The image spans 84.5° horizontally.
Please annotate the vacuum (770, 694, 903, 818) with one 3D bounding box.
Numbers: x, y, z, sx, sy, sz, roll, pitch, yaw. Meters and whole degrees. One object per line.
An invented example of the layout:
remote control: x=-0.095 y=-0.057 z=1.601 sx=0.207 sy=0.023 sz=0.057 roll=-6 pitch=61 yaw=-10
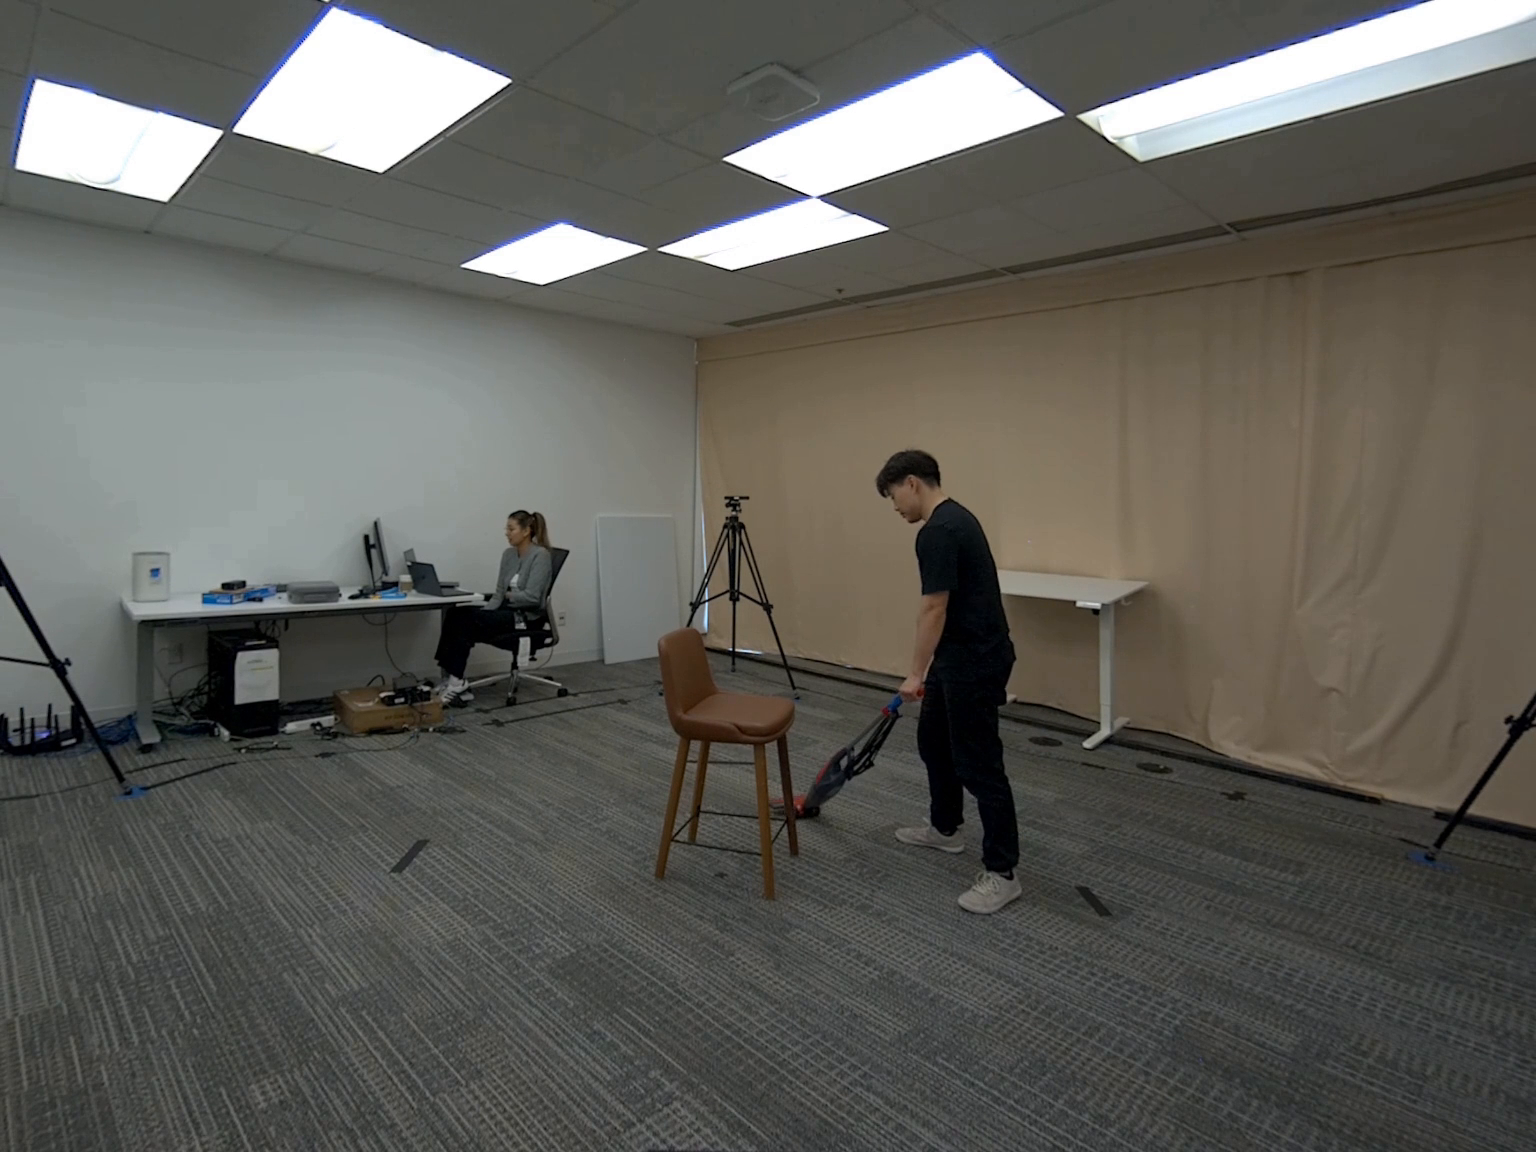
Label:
vacuum: x=0.328 y=0.727 z=3.385 sx=0.248 sy=0.148 sz=1.042 roll=3 pitch=-37 yaw=-27
